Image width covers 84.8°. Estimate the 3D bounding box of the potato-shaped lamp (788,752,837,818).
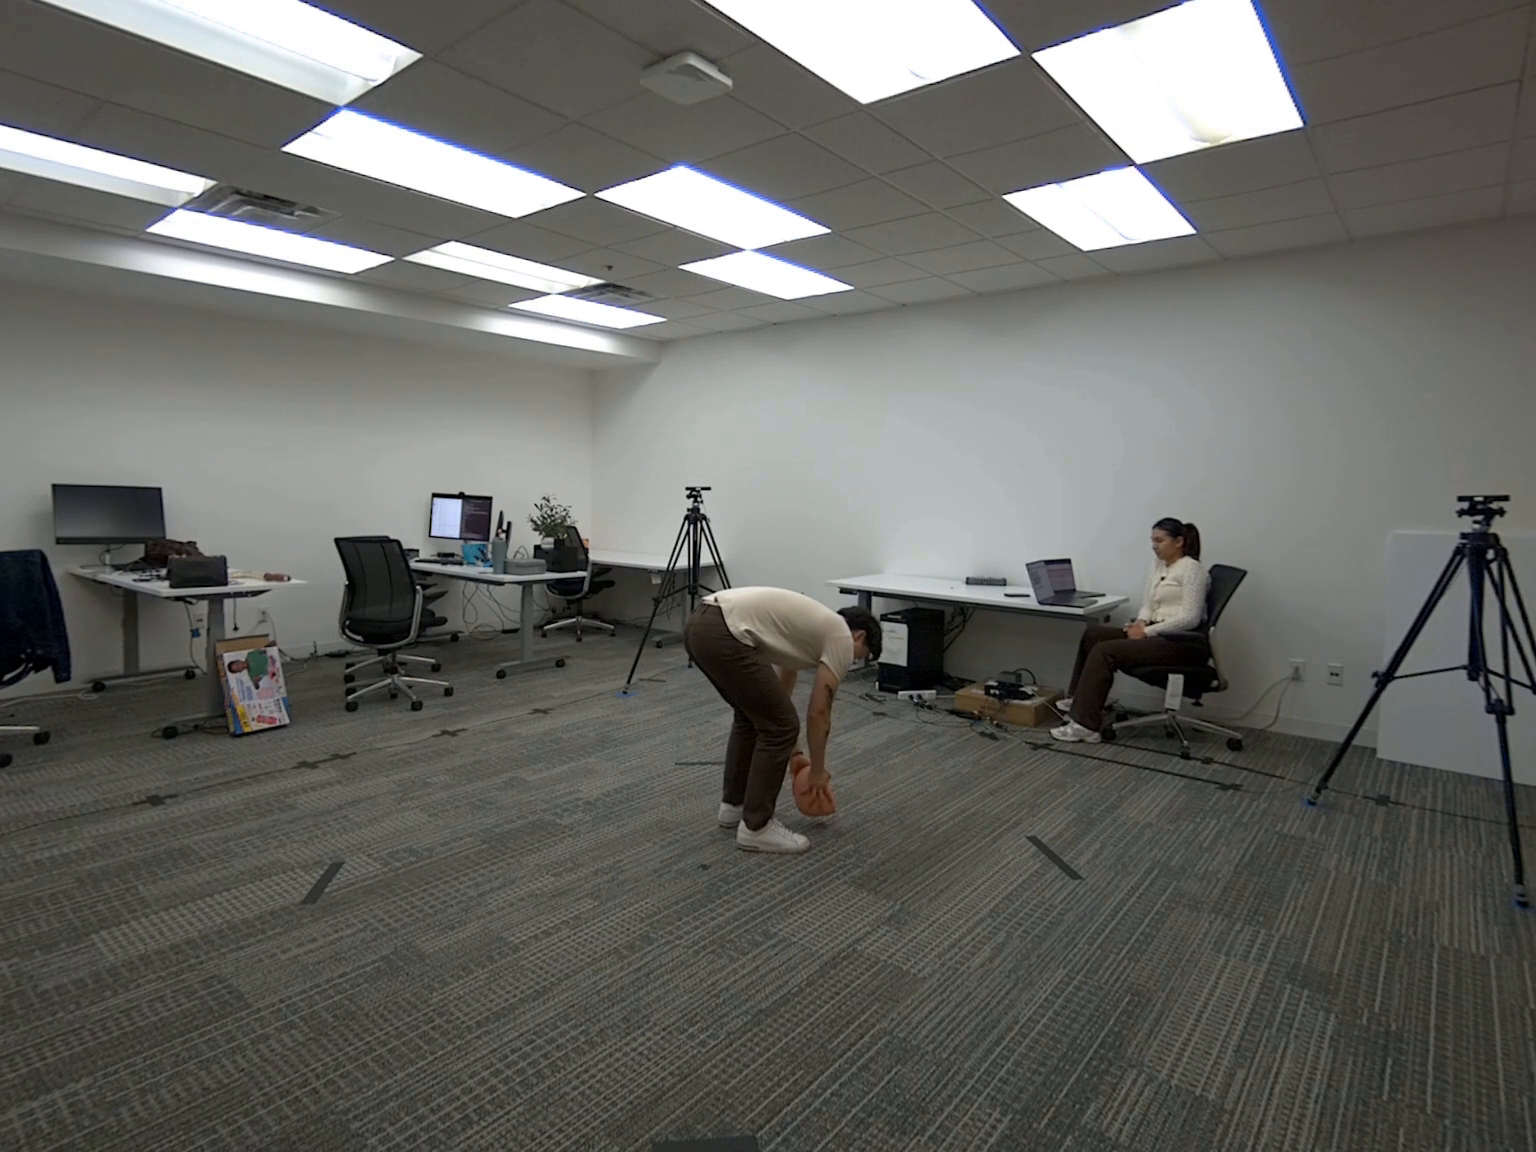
[{"bbox_3d":[0.184,0.872,3.522,0.167,0.197,0.169,-3,3,-25],"label":"potato-shaped lamp"}]
